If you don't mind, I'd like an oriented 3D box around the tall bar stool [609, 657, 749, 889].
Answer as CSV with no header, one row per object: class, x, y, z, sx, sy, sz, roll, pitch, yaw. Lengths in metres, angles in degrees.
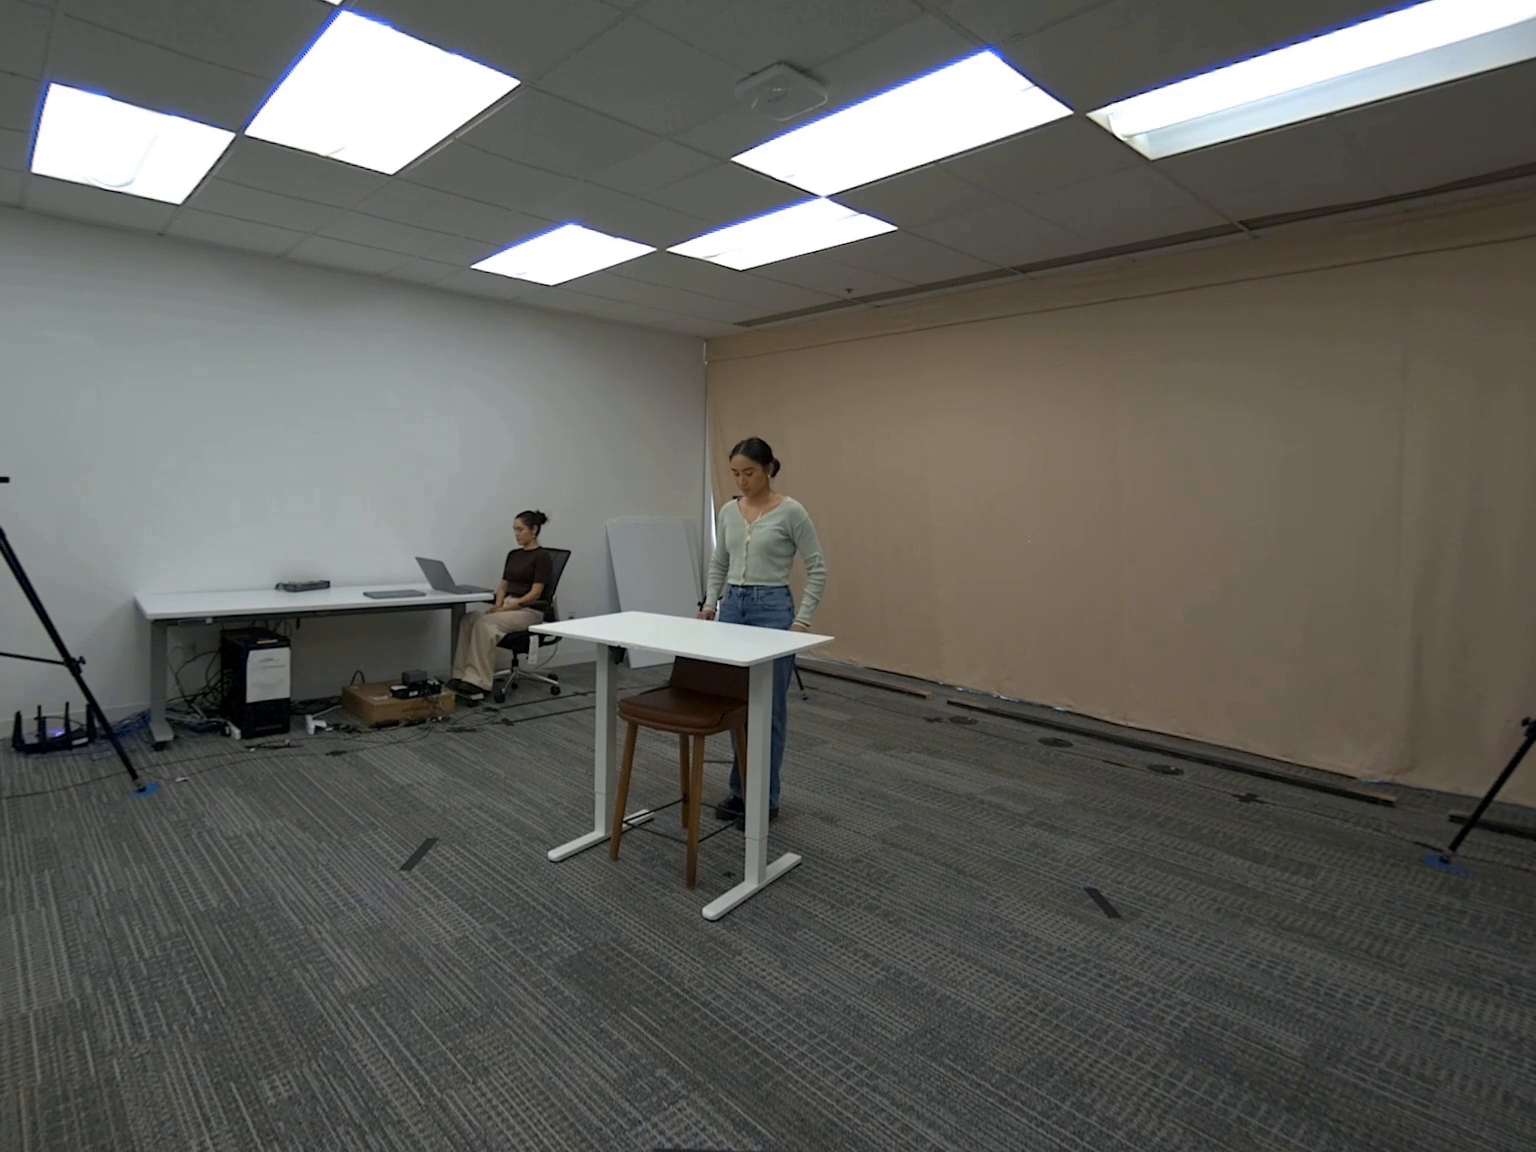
tall bar stool,-0.308,0.654,3.255,0.467,0.889,0.457,3,1,35
